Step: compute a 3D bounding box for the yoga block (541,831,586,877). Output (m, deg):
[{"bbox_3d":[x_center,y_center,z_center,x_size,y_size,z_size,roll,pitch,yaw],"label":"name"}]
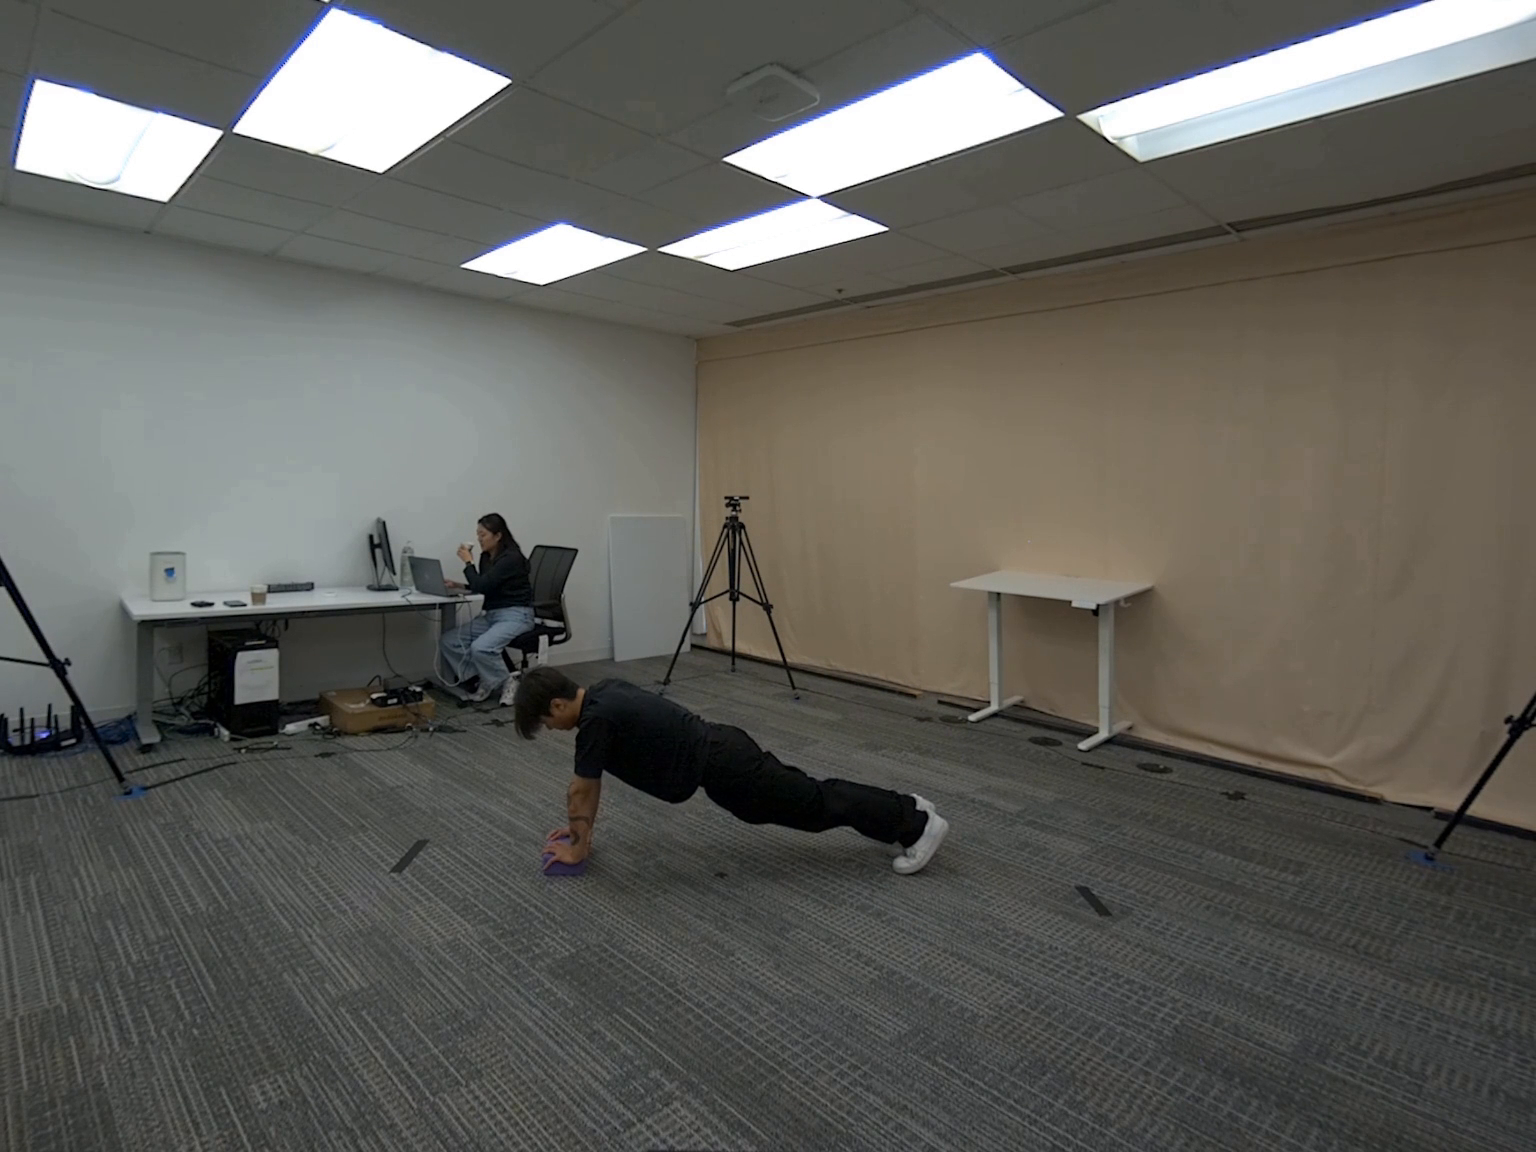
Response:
[{"bbox_3d":[-0.761,1.038,3.181,0.148,0.076,0.231,0,7,-7],"label":"yoga block"}]
